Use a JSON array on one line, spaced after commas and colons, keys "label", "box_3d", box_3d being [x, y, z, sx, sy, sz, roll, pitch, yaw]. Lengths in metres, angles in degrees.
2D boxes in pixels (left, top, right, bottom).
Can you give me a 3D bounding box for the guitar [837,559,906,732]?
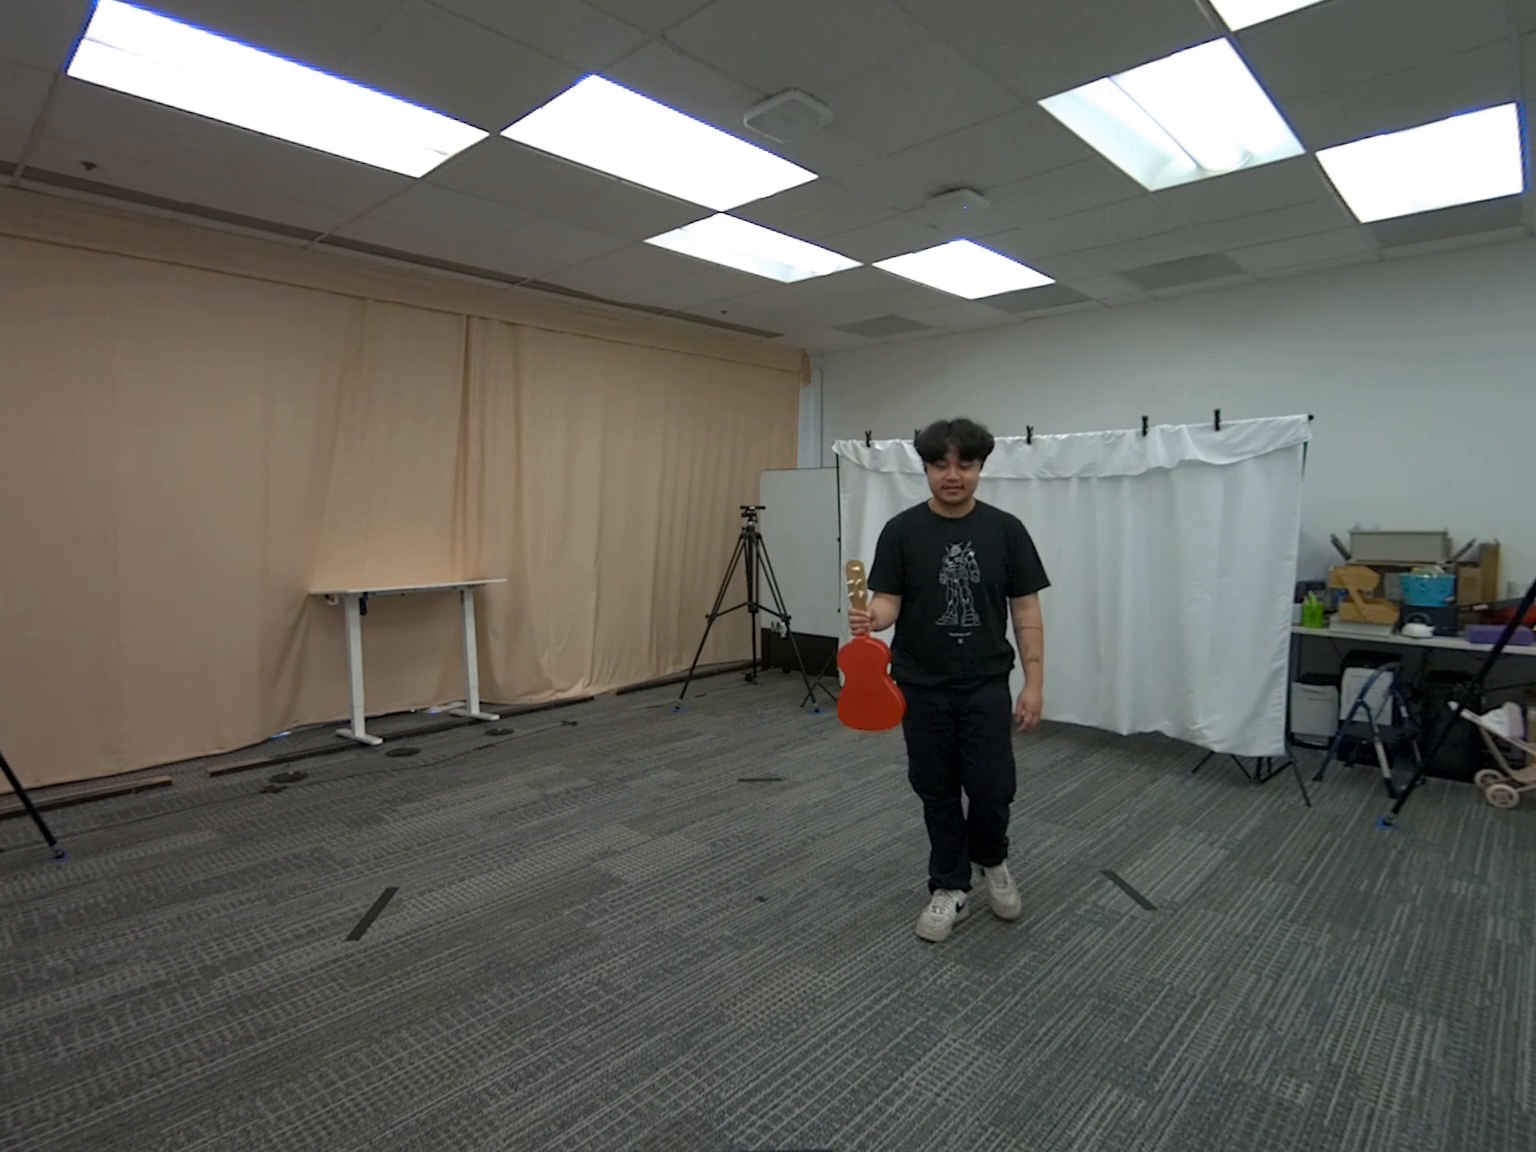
[{"label": "guitar", "box_3d": [0.261, 0.209, 2.479, 0.197, 0.497, 0.069, -16, 2, 25]}]
